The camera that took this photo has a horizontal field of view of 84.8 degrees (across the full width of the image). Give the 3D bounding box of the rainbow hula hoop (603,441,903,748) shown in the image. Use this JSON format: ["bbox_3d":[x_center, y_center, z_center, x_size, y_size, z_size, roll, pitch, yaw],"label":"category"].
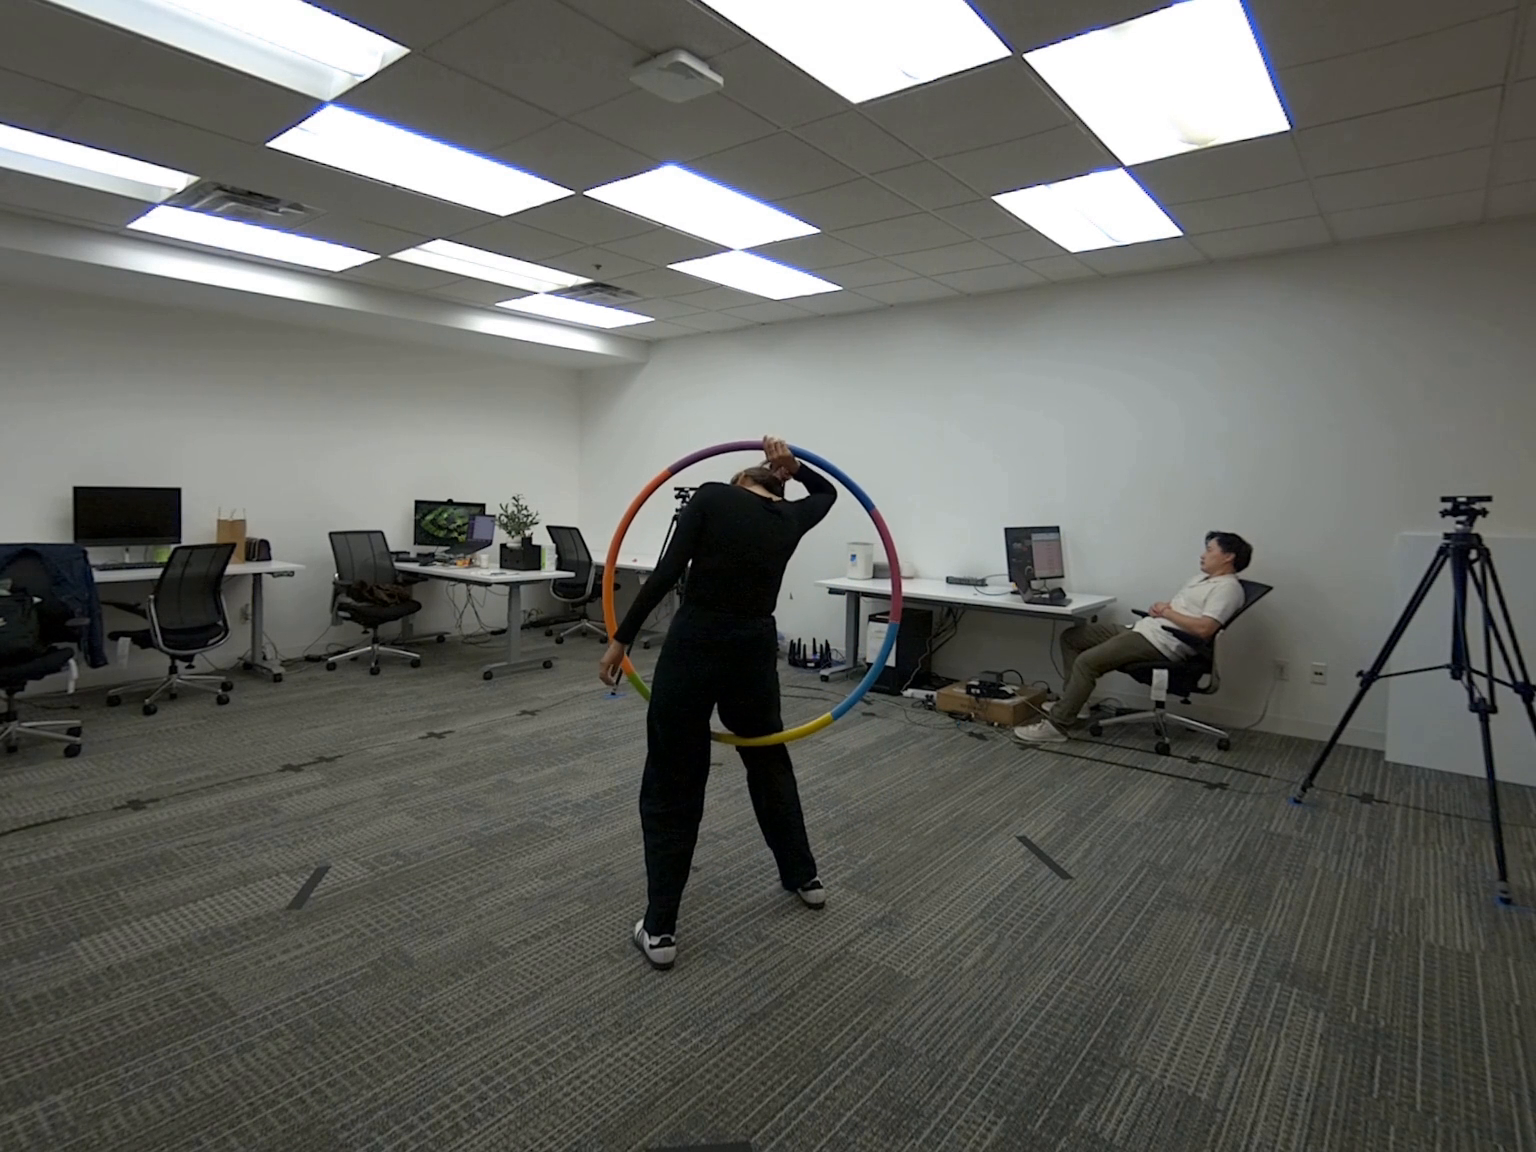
[{"bbox_3d":[-0.072,0.043,2.776,0.986,0.979,0.035,1,-1,7],"label":"rainbow hula hoop"}]
